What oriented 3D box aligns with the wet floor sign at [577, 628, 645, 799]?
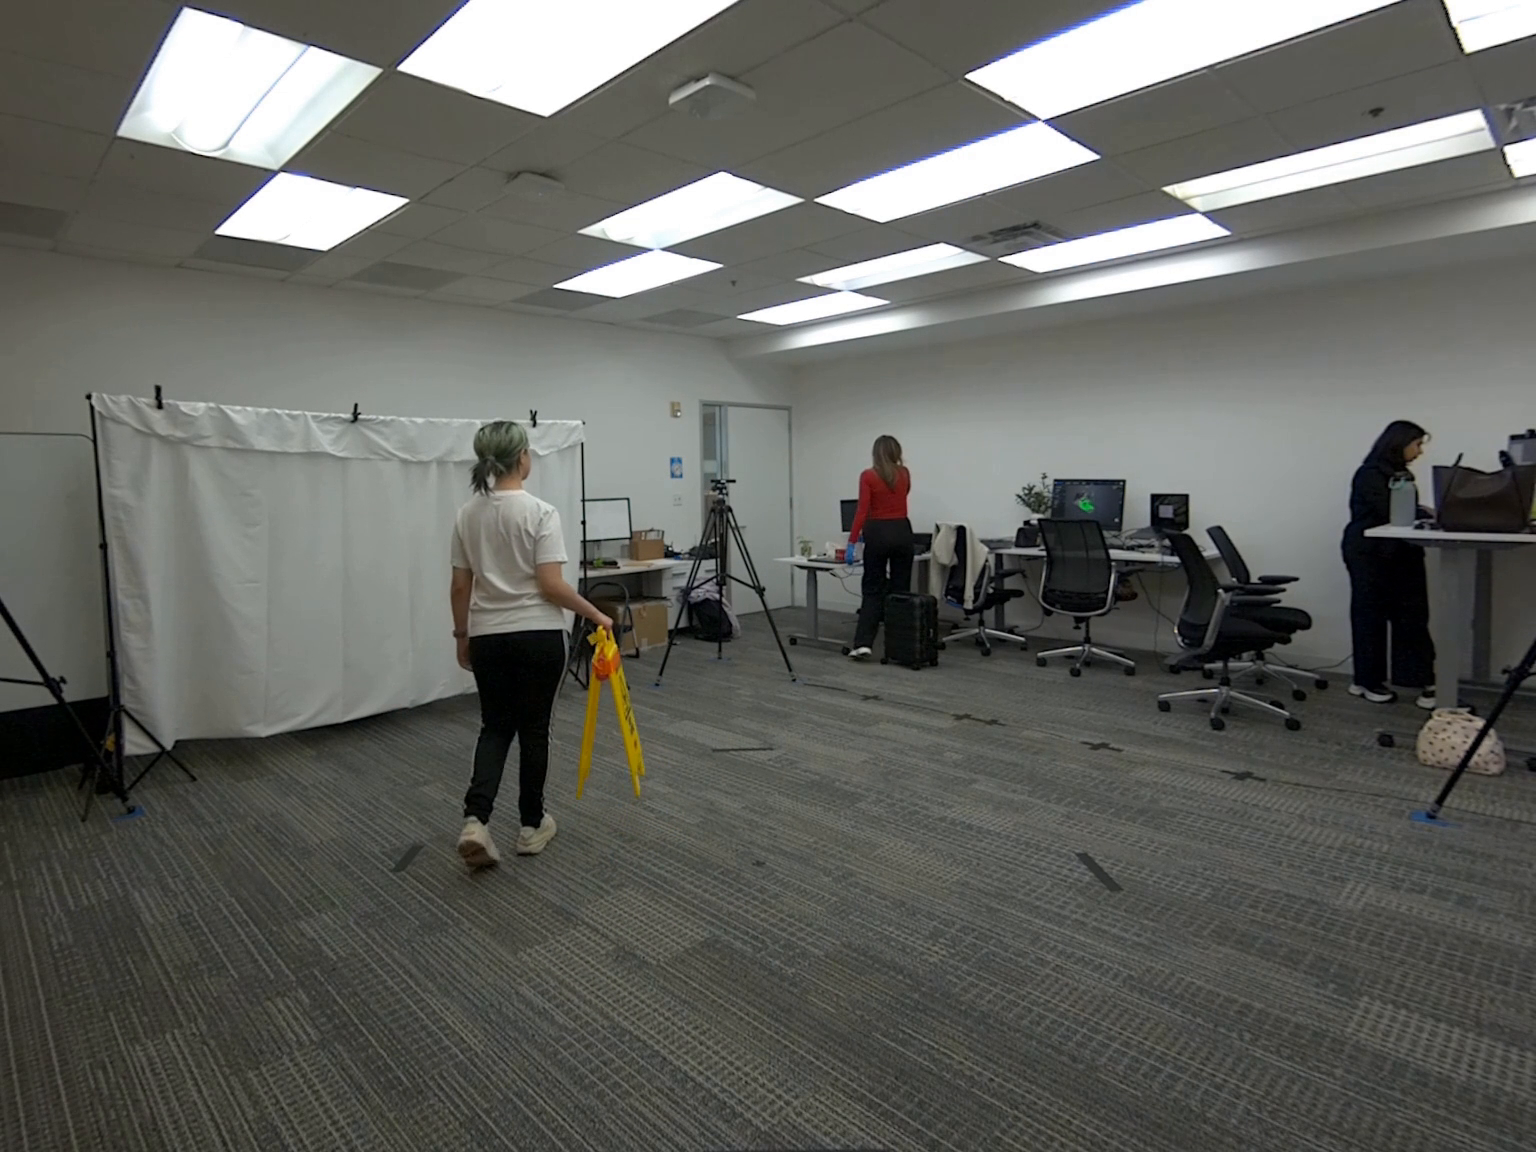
[{"bbox_3d":[-0.626,0.503,3.338,0.289,0.642,0.284,-1,6,-3],"label":"wet floor sign"}]
